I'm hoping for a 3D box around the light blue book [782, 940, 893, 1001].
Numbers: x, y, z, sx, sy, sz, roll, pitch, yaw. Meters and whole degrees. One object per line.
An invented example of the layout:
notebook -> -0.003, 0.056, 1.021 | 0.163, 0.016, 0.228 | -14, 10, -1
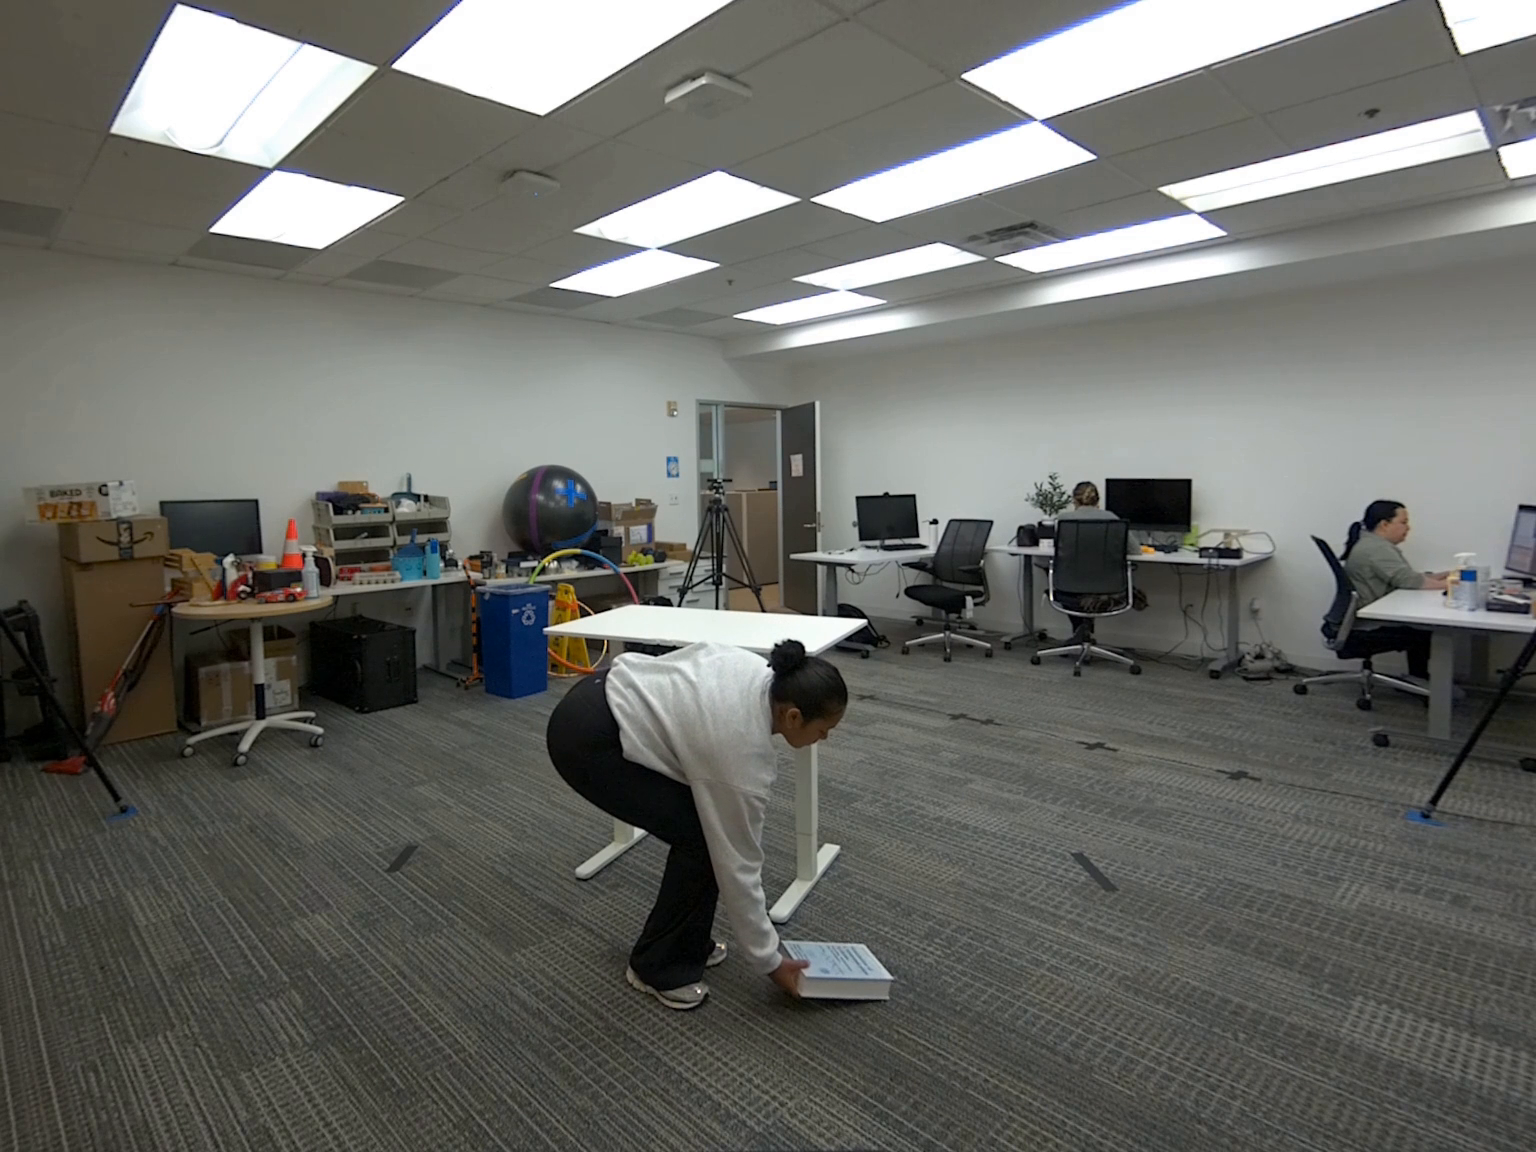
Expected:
light blue book -> 0.180, 1.070, 2.333 | 0.256, 0.059, 0.195 | 9, 3, -18
